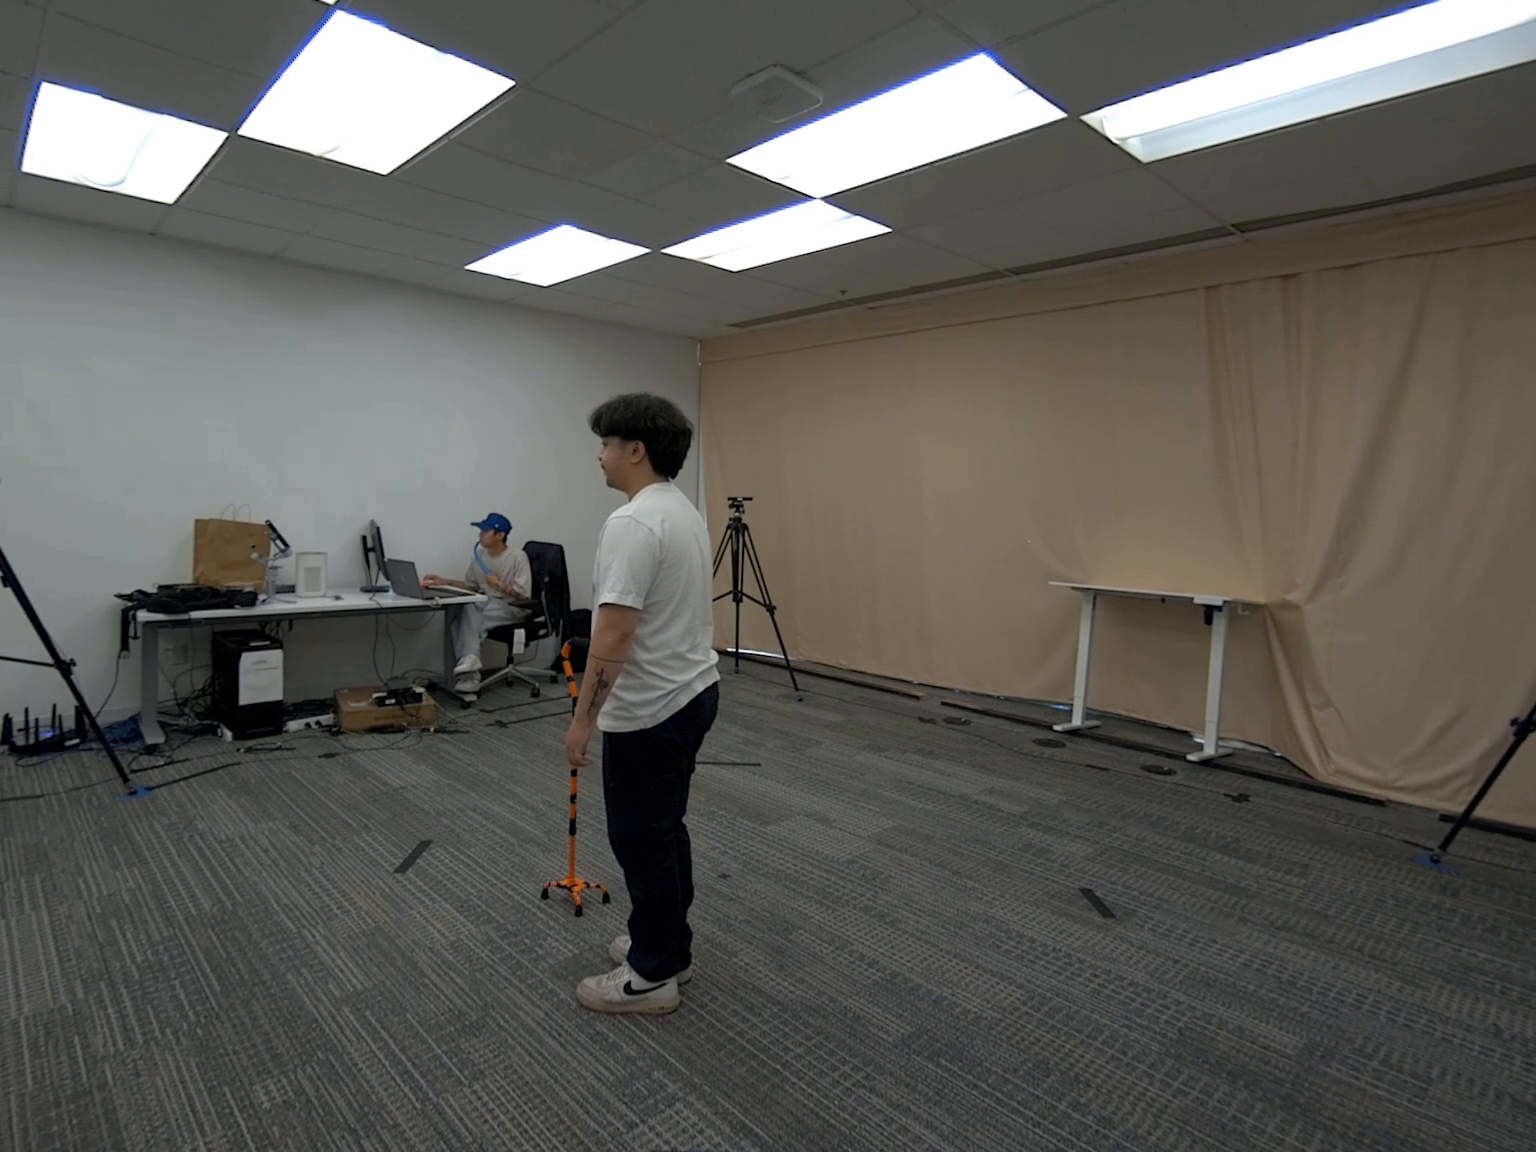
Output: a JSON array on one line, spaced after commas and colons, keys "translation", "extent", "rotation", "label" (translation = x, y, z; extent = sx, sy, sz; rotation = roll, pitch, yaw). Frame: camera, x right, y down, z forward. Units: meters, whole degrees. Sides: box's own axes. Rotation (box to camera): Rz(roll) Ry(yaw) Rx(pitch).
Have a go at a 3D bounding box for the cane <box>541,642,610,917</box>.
[{"translation": [-0.656, 0.666, 2.868], "extent": [0.212, 0.906, 0.148], "rotation": [4, 4, 41], "label": "cane"}]
